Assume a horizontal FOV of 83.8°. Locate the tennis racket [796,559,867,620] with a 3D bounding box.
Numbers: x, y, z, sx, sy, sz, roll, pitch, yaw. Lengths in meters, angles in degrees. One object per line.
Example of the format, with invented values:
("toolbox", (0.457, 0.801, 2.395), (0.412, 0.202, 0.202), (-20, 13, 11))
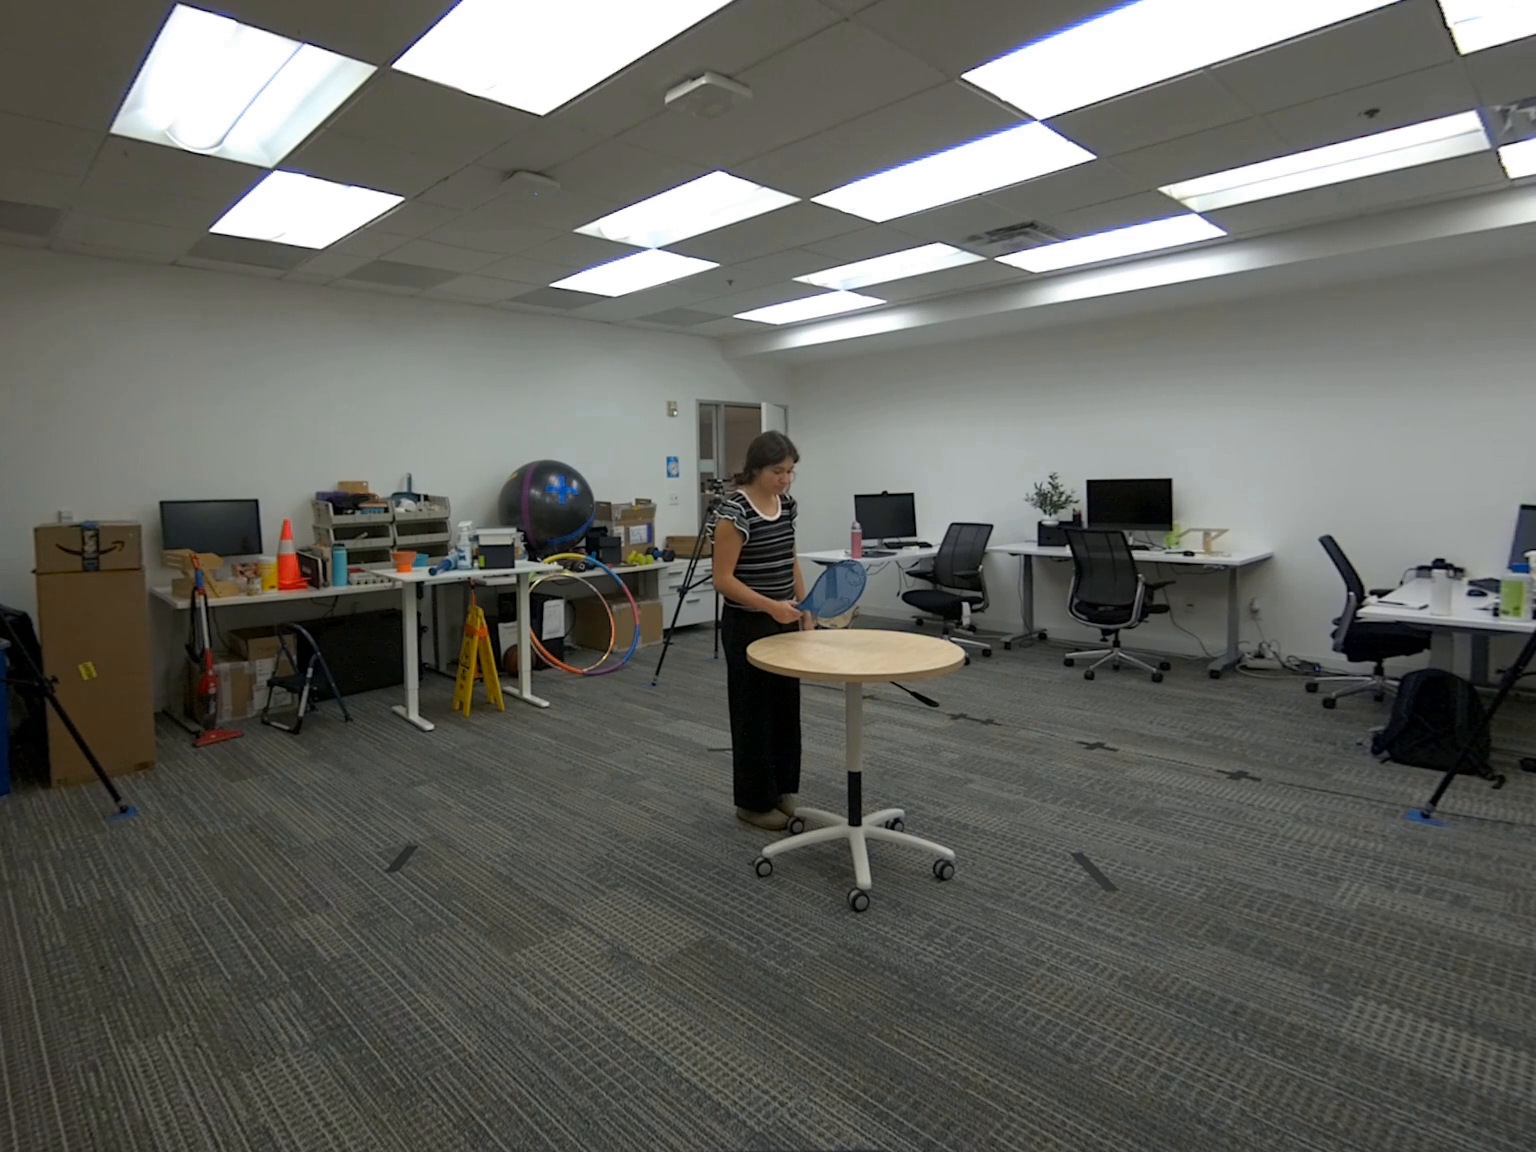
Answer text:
("tennis racket", (0.197, 0.090, 3.088), (0.031, 0.219, 0.436), (23, -40, -35))
